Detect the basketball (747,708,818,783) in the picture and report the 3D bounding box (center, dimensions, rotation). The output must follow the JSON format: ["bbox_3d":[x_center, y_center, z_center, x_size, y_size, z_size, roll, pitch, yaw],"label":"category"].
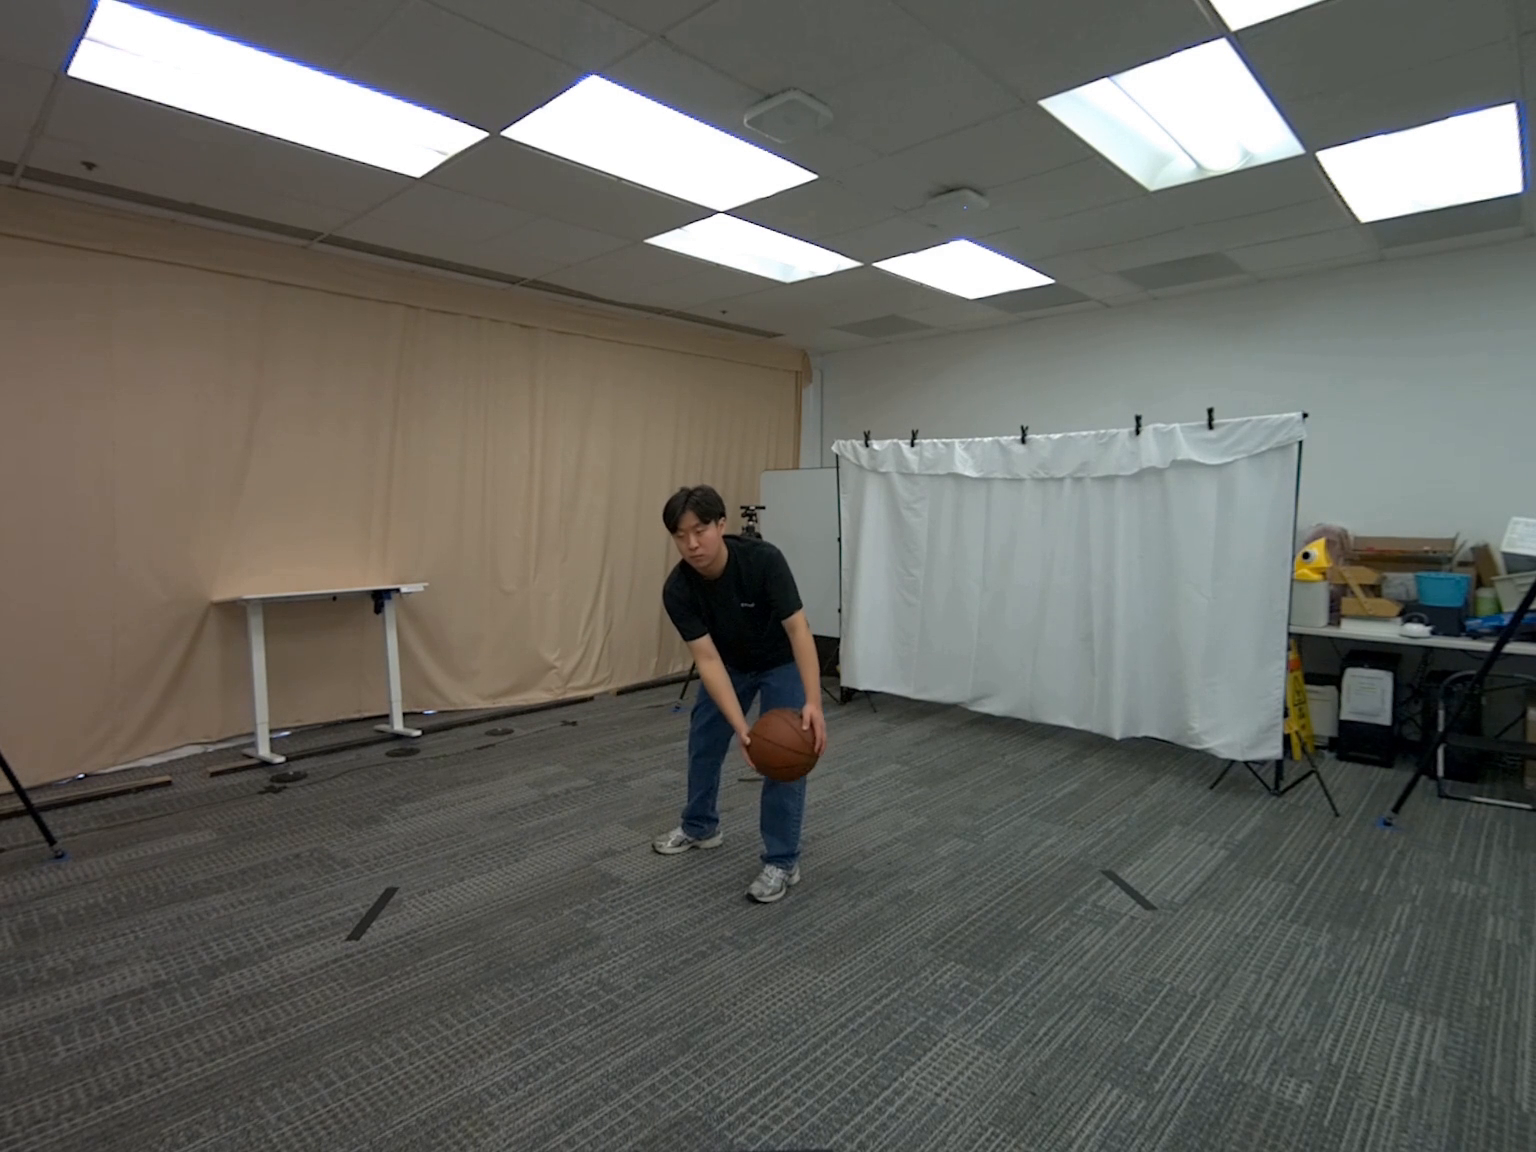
[{"bbox_3d":[0.052,0.543,2.756,0.236,0.235,0.237,0,4,-2],"label":"basketball"}]
